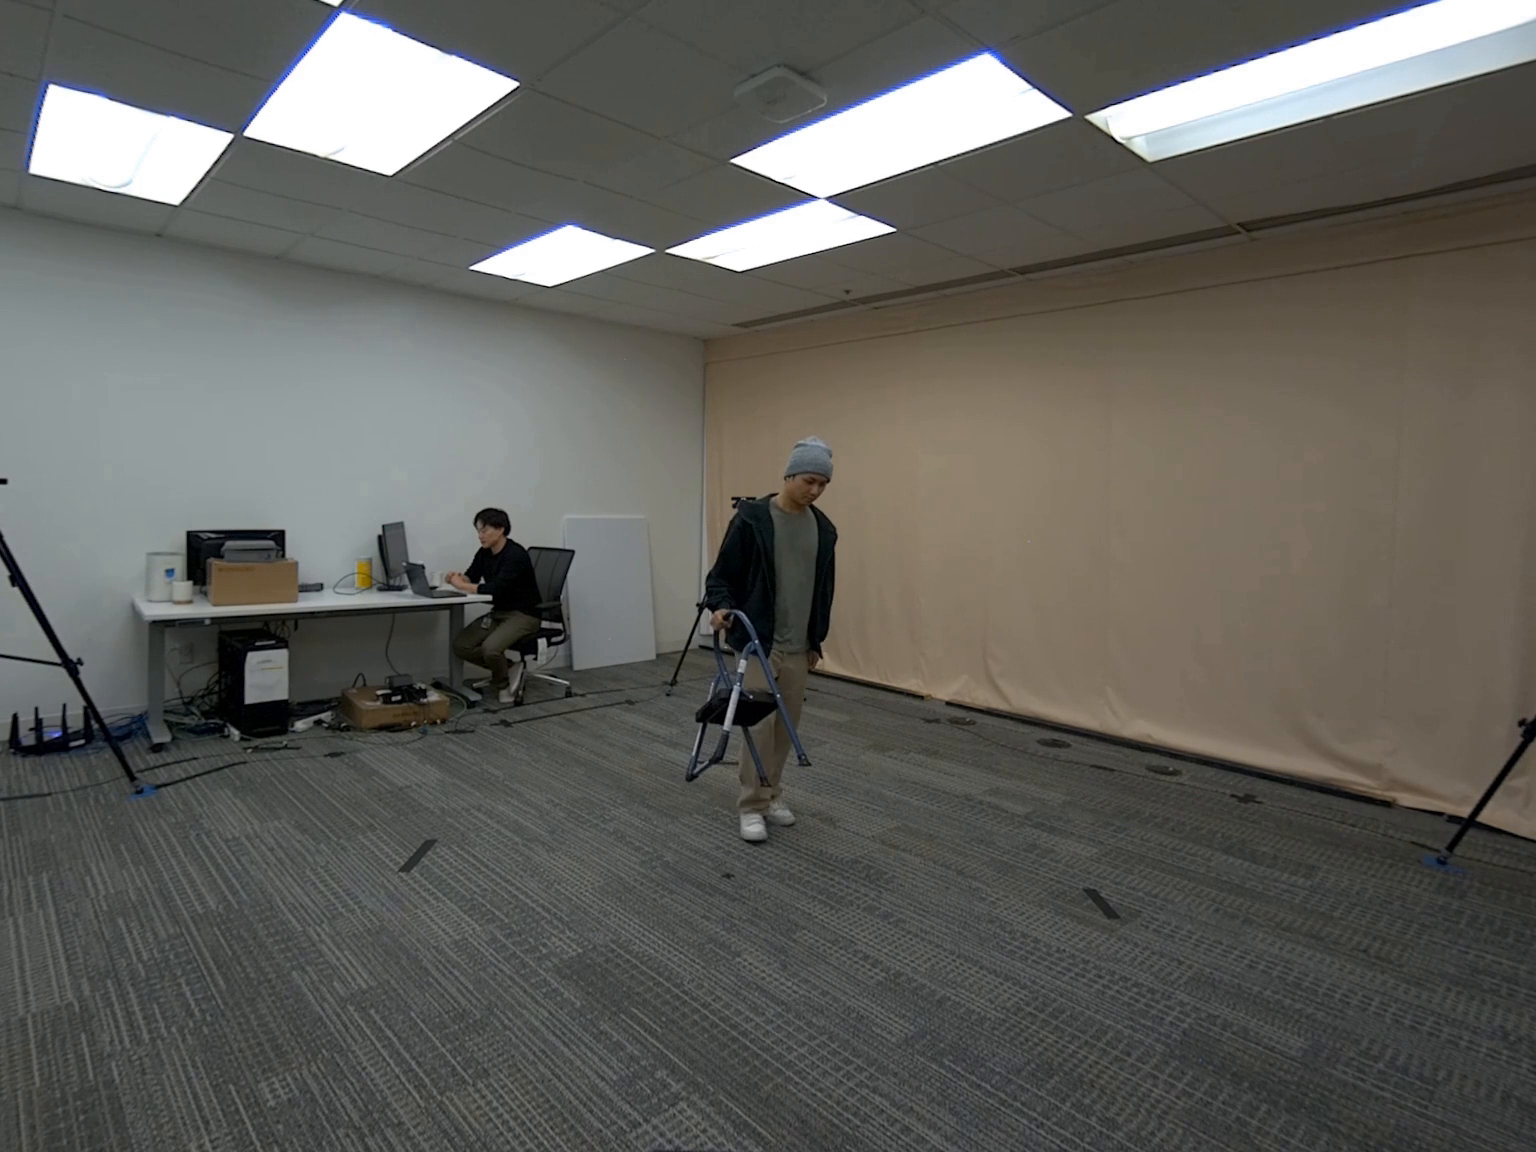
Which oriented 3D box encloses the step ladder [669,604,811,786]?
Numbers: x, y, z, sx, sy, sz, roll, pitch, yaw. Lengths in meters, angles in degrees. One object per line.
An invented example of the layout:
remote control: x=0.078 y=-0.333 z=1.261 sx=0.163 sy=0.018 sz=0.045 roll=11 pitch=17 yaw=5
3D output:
step ladder: x=-0.111 y=0.456 z=3.211 sx=0.344 sy=0.617 sz=0.430 roll=8 pitch=-27 yaw=-19
